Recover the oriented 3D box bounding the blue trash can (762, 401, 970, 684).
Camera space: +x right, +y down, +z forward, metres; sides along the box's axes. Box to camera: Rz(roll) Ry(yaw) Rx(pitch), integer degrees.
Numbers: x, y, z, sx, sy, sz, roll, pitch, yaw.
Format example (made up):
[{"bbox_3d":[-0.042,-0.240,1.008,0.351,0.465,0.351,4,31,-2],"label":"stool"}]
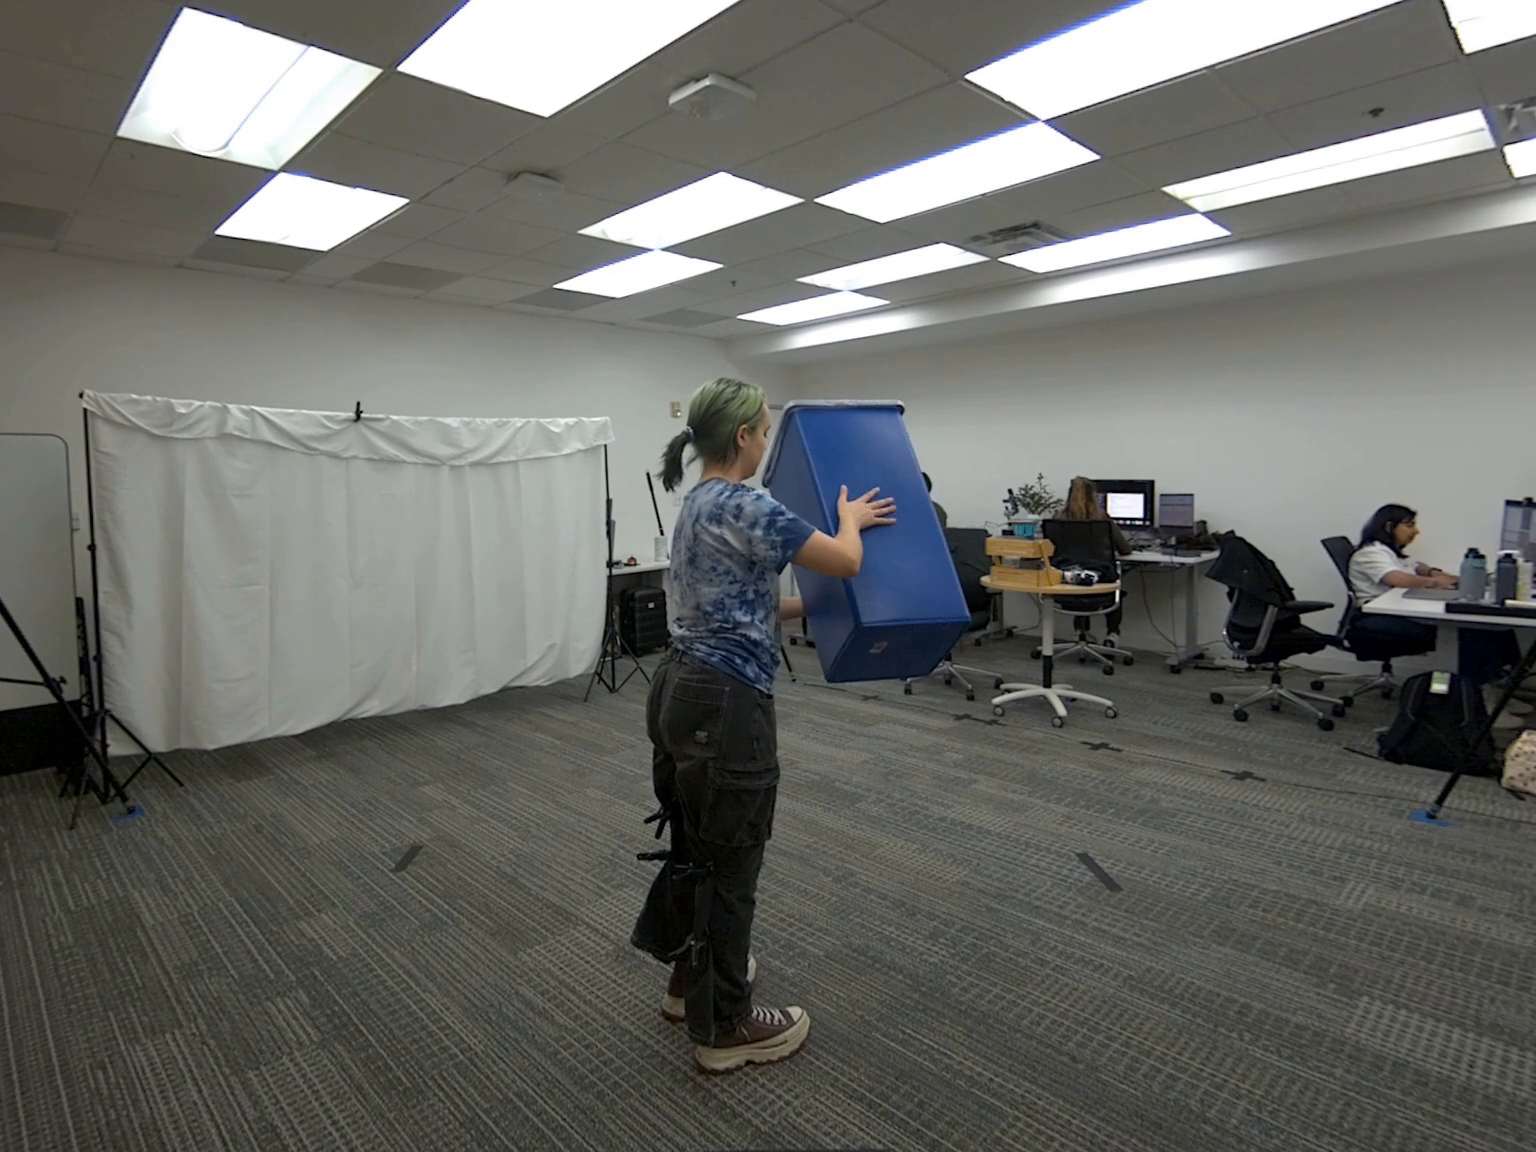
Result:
[{"bbox_3d":[0.257,-0.102,2.355,0.369,0.735,0.372,-2,-35,-15],"label":"blue trash can"}]
